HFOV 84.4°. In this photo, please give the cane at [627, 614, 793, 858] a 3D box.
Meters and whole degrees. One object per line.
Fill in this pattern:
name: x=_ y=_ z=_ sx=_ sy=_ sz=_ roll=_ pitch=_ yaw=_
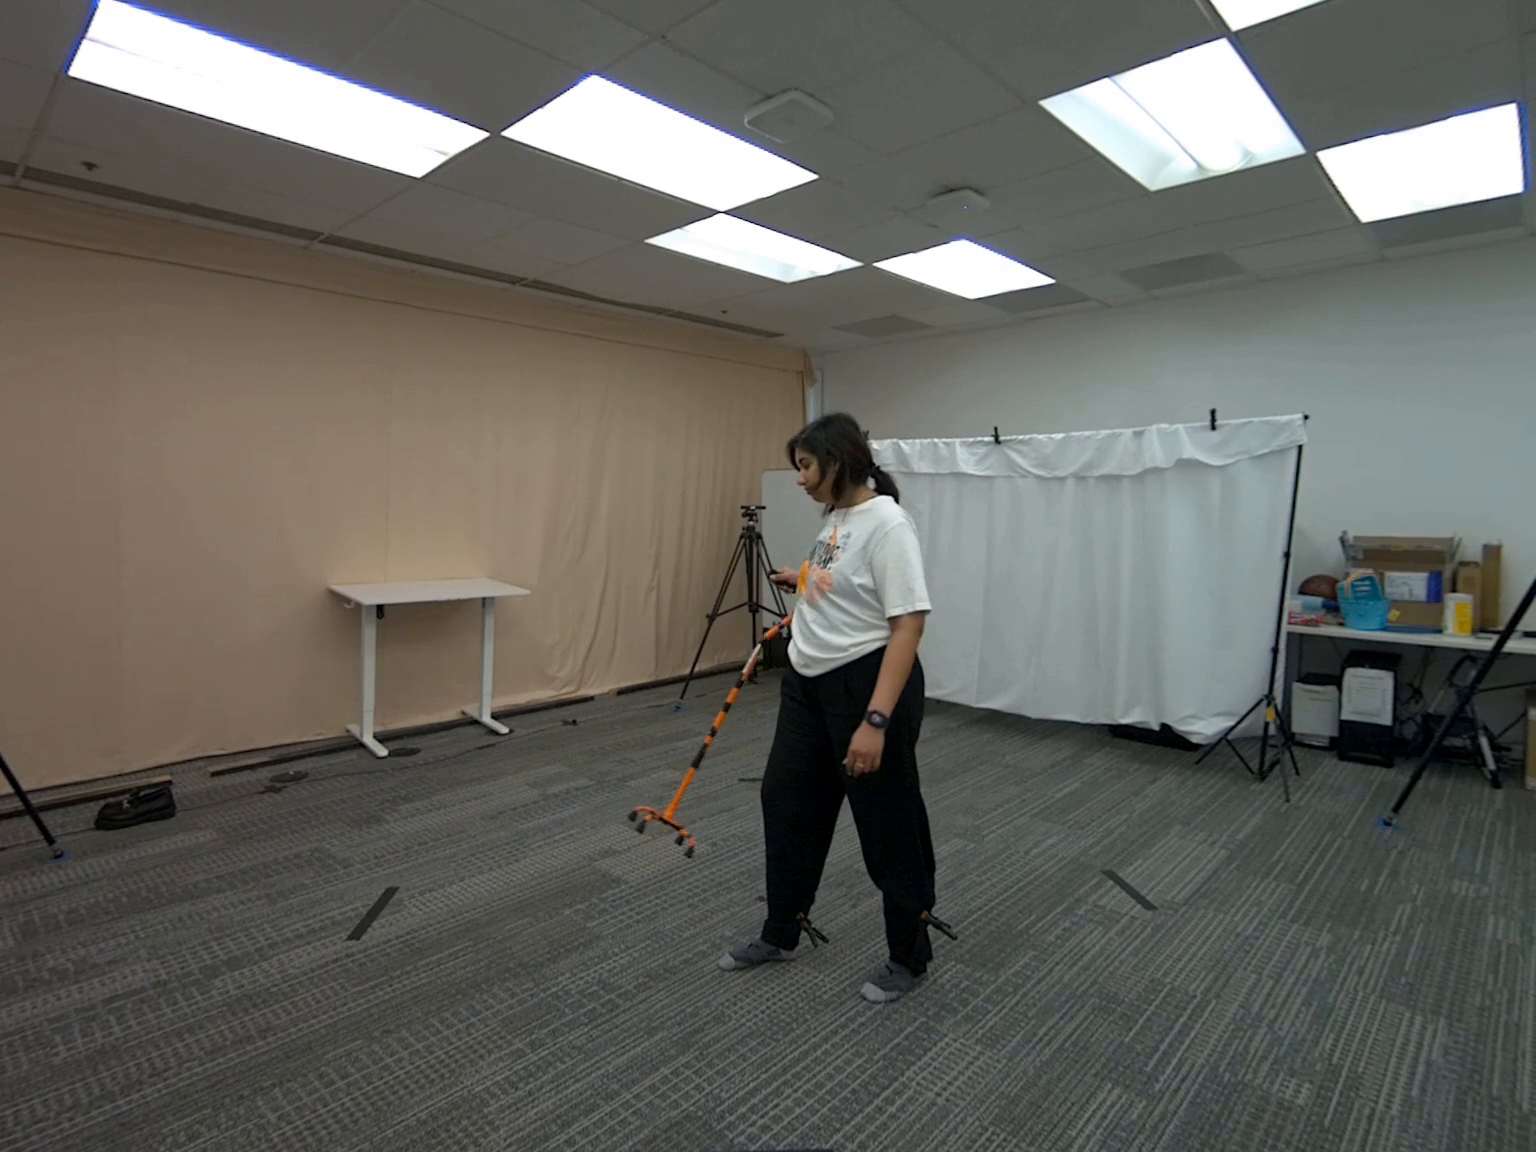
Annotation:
cane: x=-0.125 y=0.433 z=2.680 sx=0.202 sy=0.908 sz=0.155 roll=31 pitch=-9 yaw=-18
